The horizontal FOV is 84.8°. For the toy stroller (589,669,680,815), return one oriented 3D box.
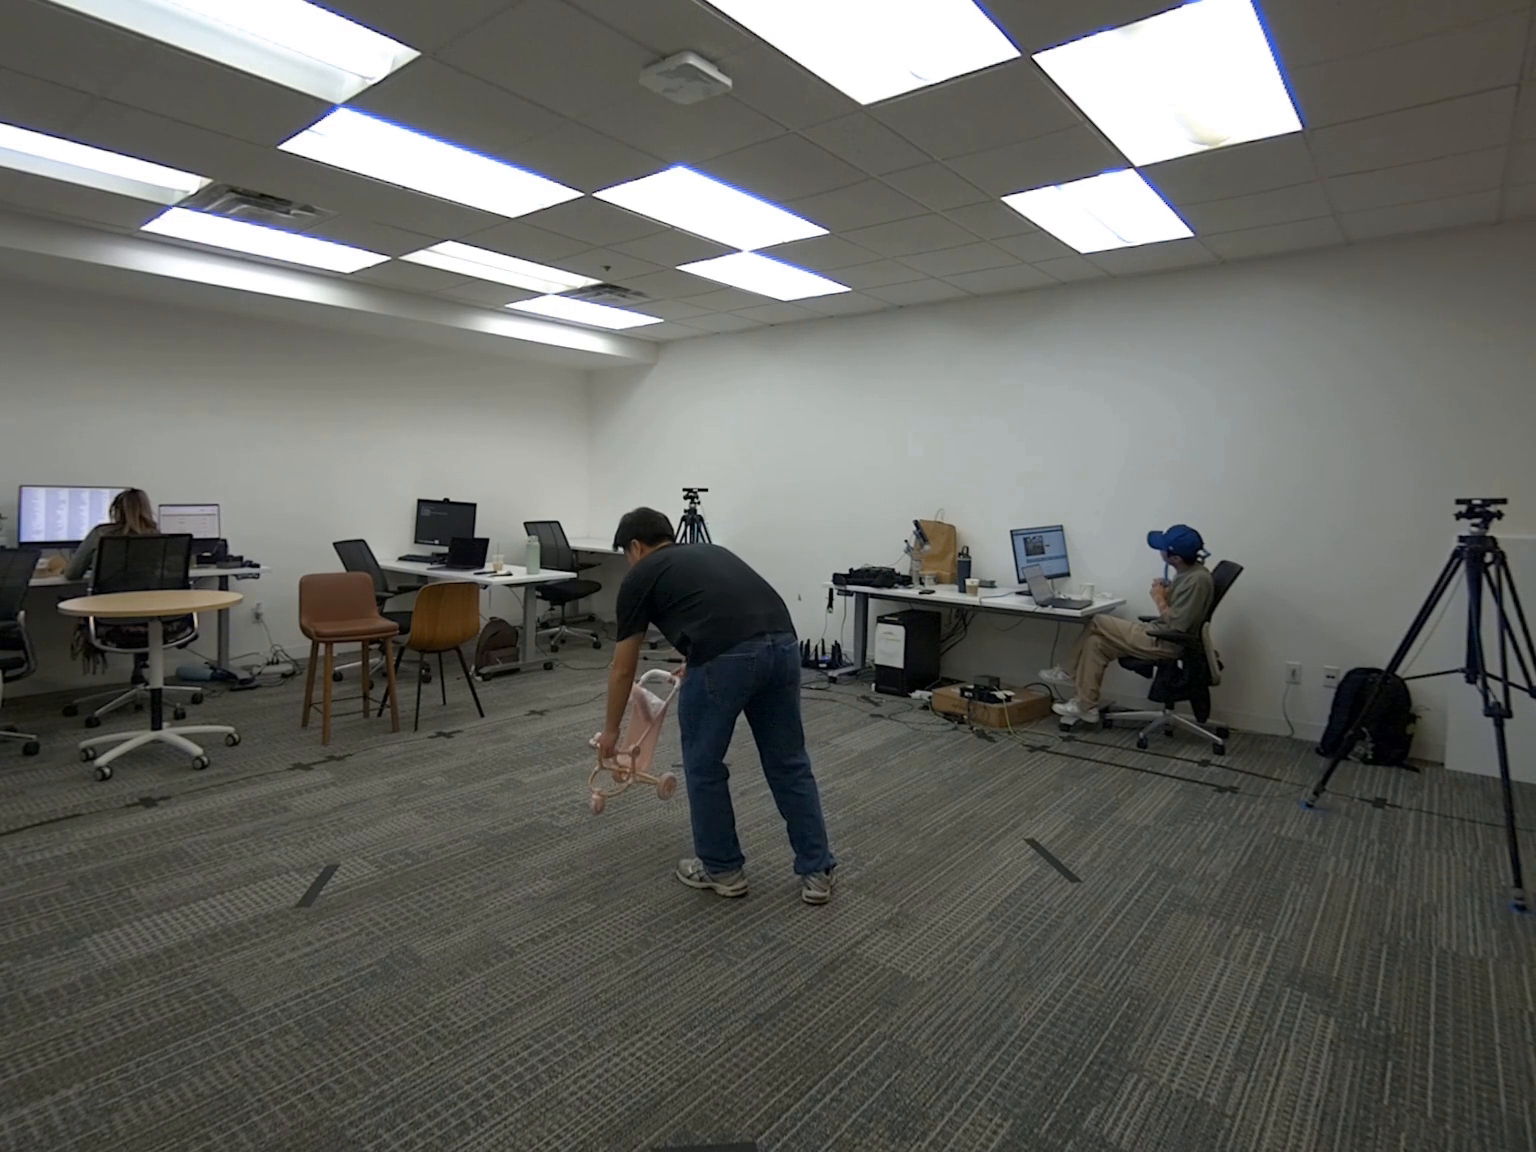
[{"bbox_3d":[-0.549,0.643,3.330,0.291,0.535,0.329,9,1,42],"label":"toy stroller"}]
